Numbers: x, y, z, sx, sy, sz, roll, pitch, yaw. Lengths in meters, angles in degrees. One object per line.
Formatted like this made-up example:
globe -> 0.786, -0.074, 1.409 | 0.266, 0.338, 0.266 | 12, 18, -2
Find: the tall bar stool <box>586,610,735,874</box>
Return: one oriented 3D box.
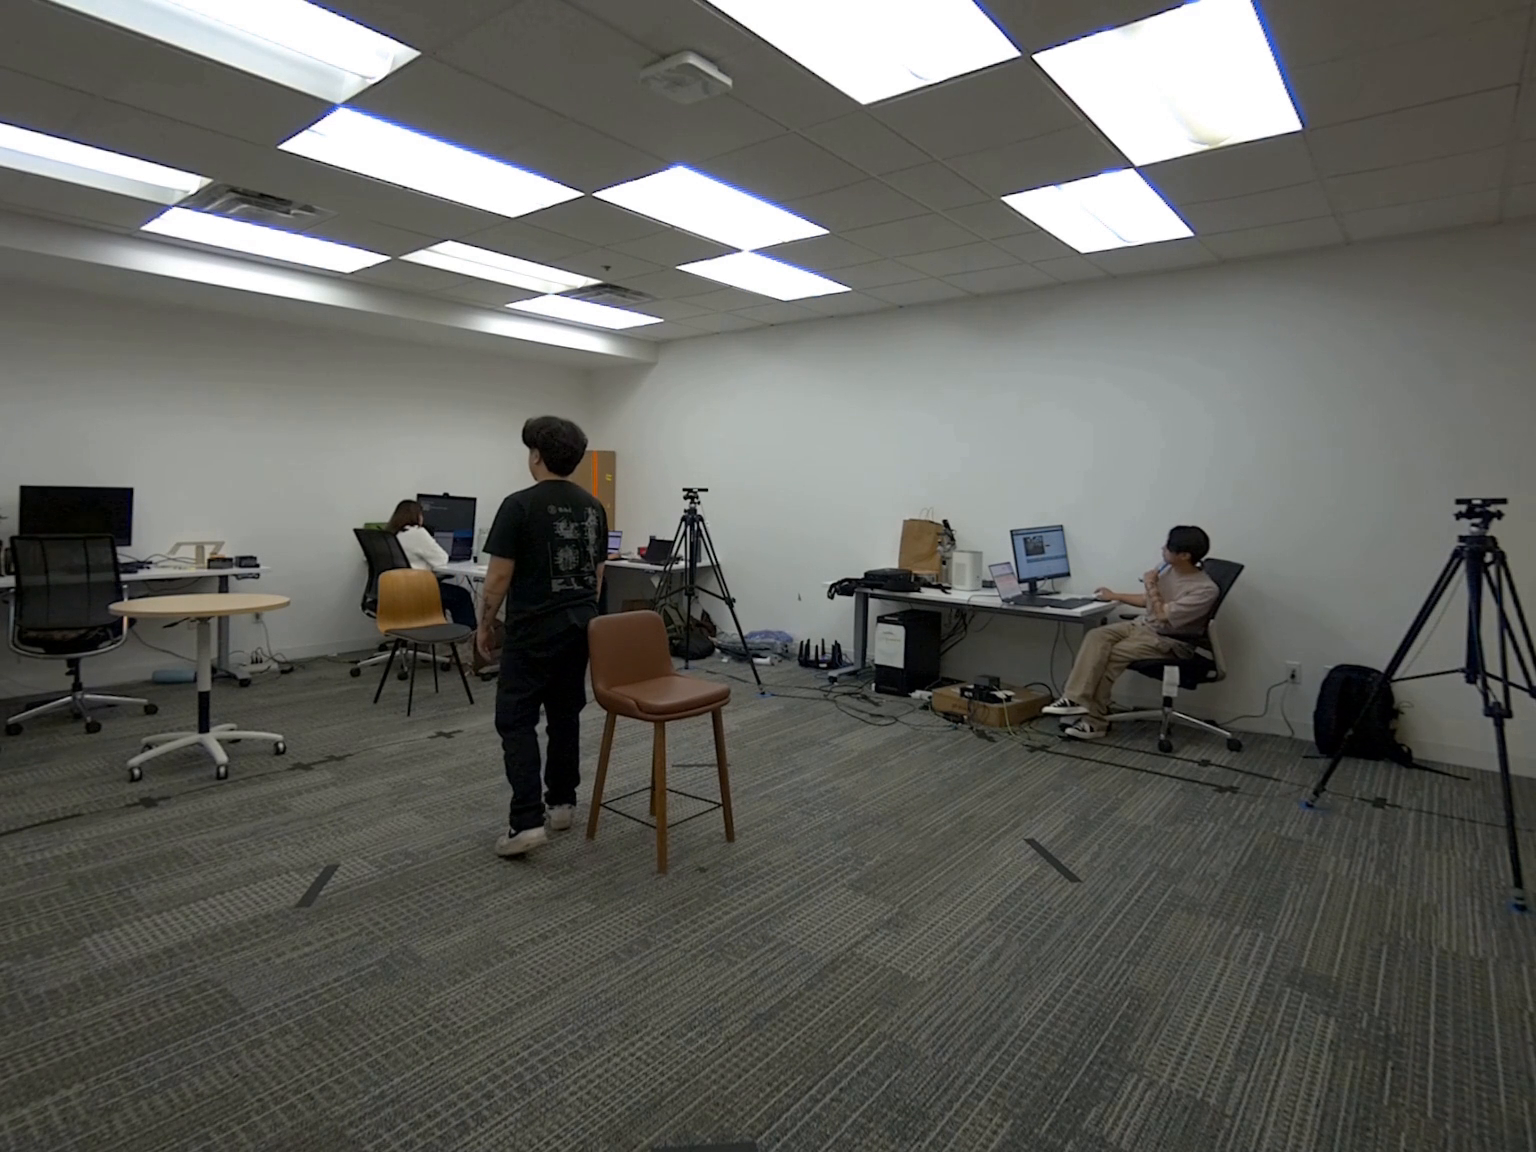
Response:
tall bar stool -> -0.442, 0.605, 3.347 | 0.482, 0.889, 0.443 | 0, 2, 40
